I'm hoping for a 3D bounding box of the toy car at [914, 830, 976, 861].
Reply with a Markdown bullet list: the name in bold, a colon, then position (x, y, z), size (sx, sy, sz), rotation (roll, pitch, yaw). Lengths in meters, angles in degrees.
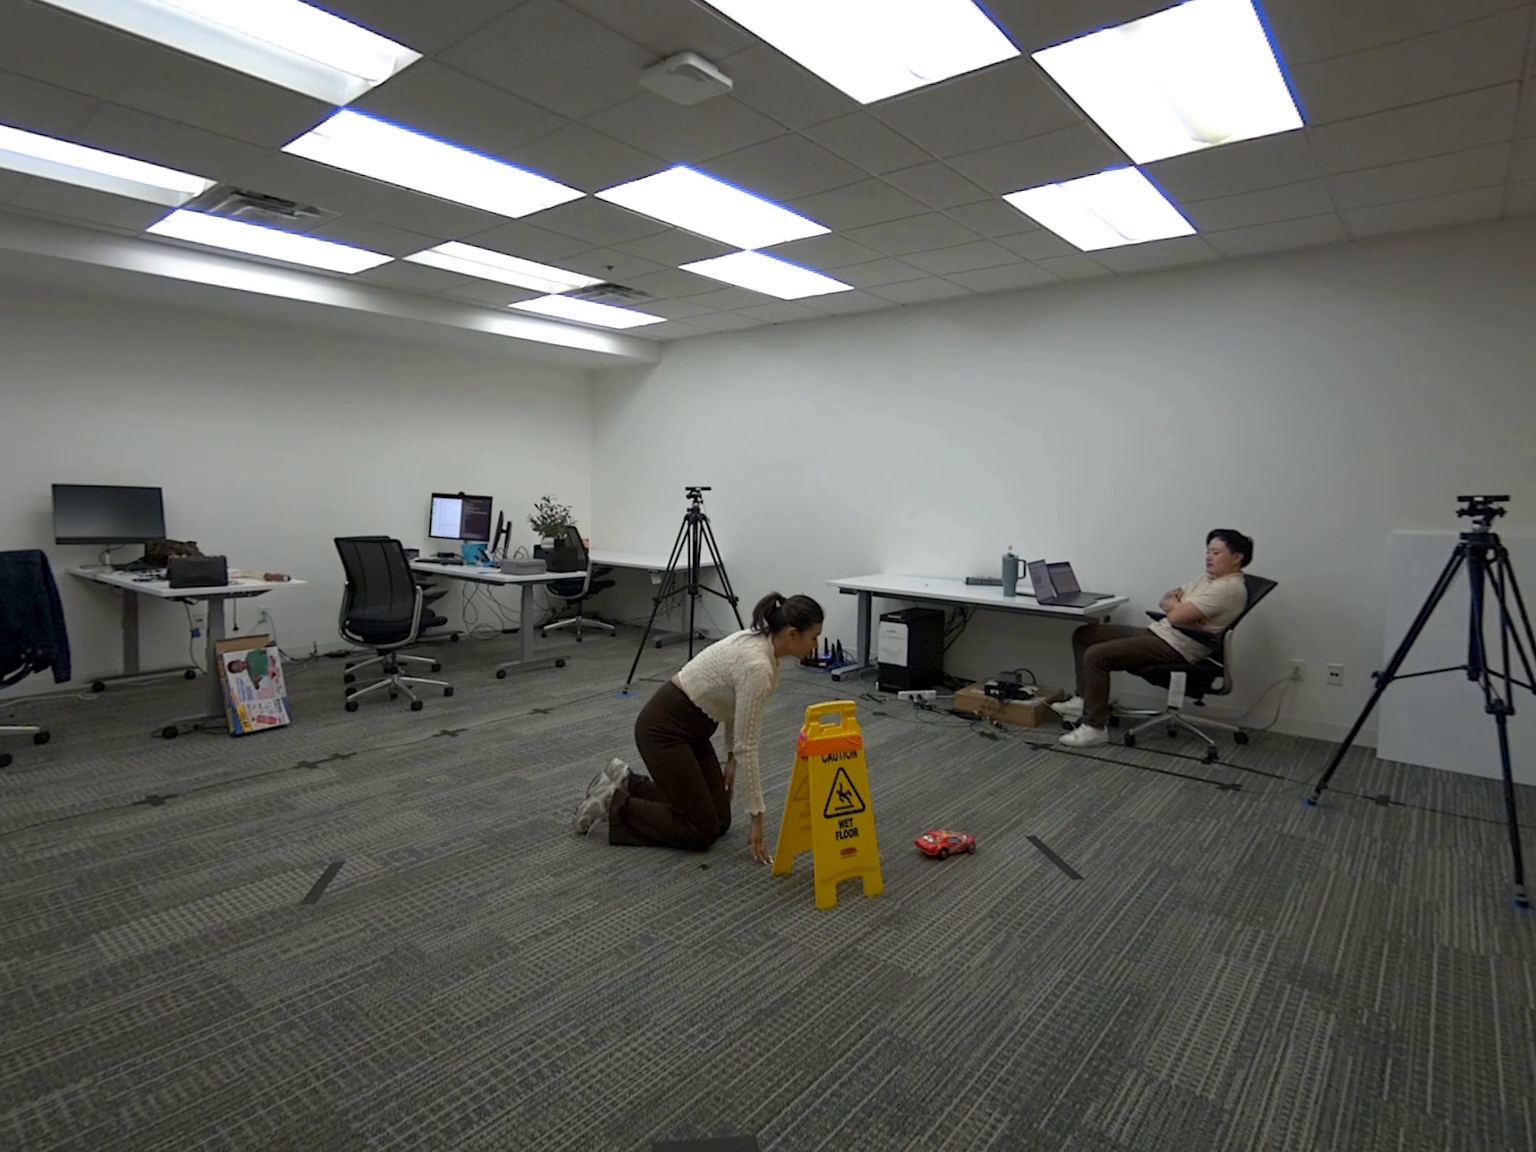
- **toy car**: position (0.671, 1.036, 3.290), size (0.247, 0.083, 0.134), rotation (11, 1, -28)
